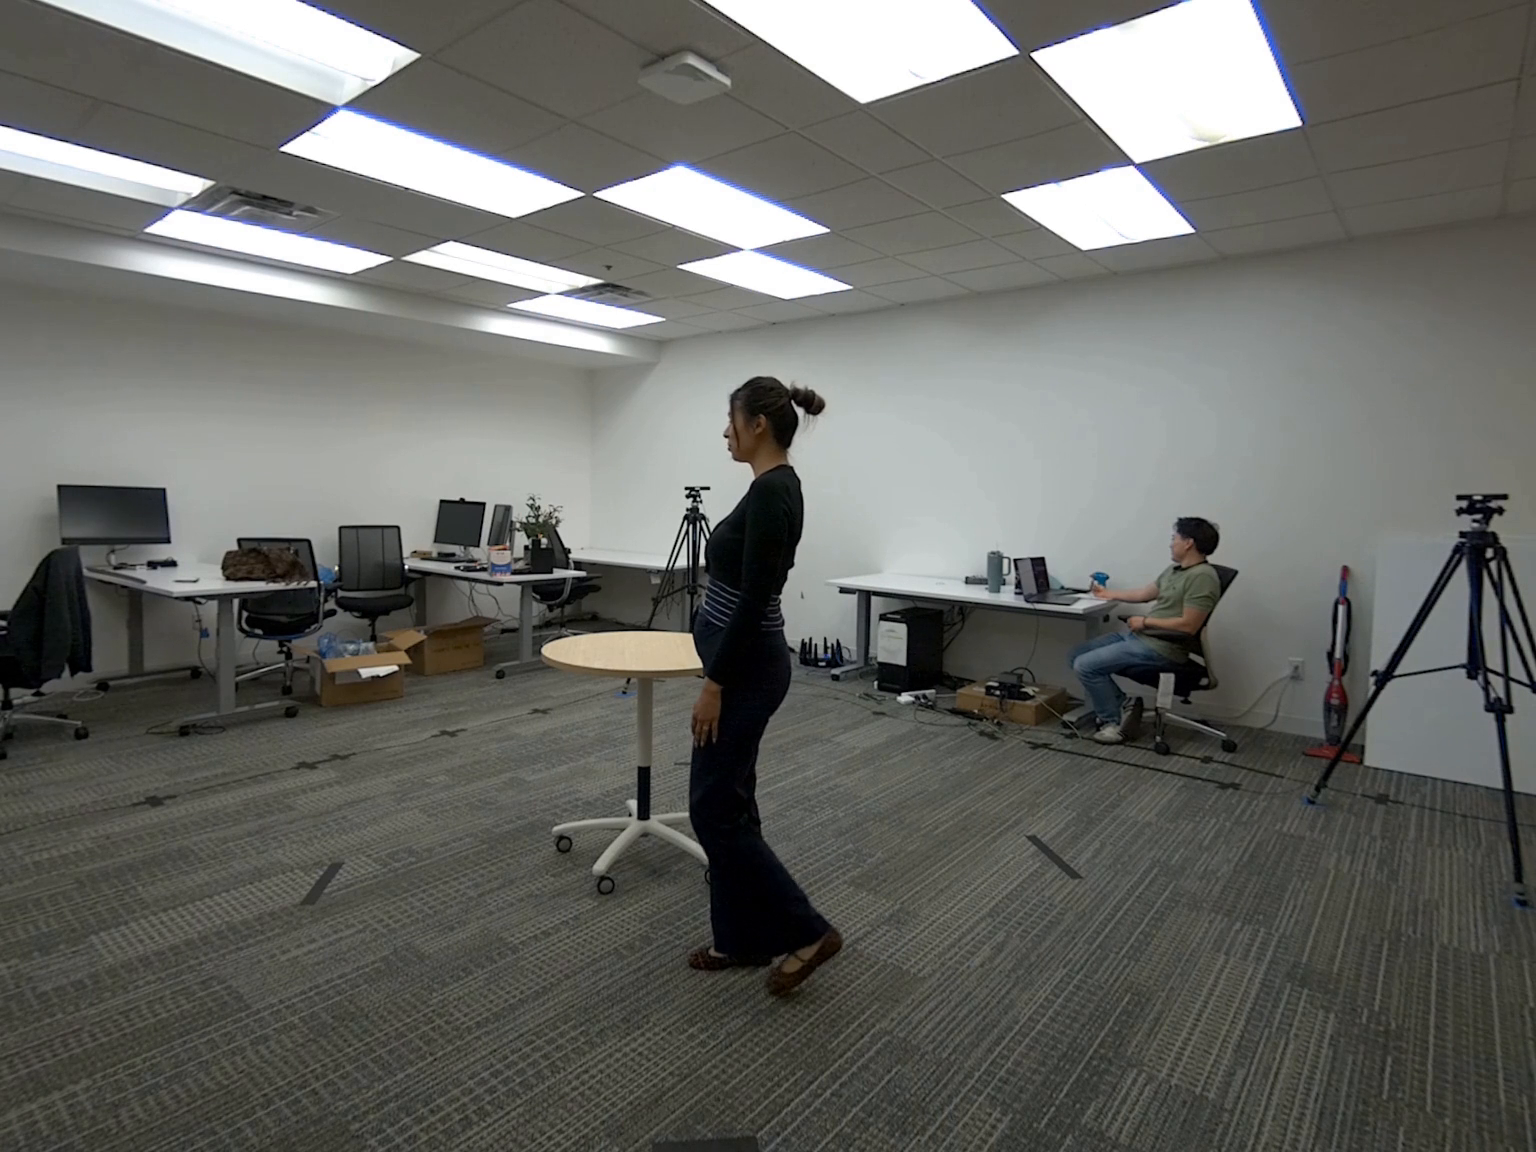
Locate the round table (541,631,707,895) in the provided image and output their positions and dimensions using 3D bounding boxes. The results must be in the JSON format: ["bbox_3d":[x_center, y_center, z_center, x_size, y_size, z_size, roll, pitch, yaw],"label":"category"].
[{"bbox_3d":[-0.477,0.664,3.191,0.763,0.791,0.768,1,4,-2],"label":"round table"}]
